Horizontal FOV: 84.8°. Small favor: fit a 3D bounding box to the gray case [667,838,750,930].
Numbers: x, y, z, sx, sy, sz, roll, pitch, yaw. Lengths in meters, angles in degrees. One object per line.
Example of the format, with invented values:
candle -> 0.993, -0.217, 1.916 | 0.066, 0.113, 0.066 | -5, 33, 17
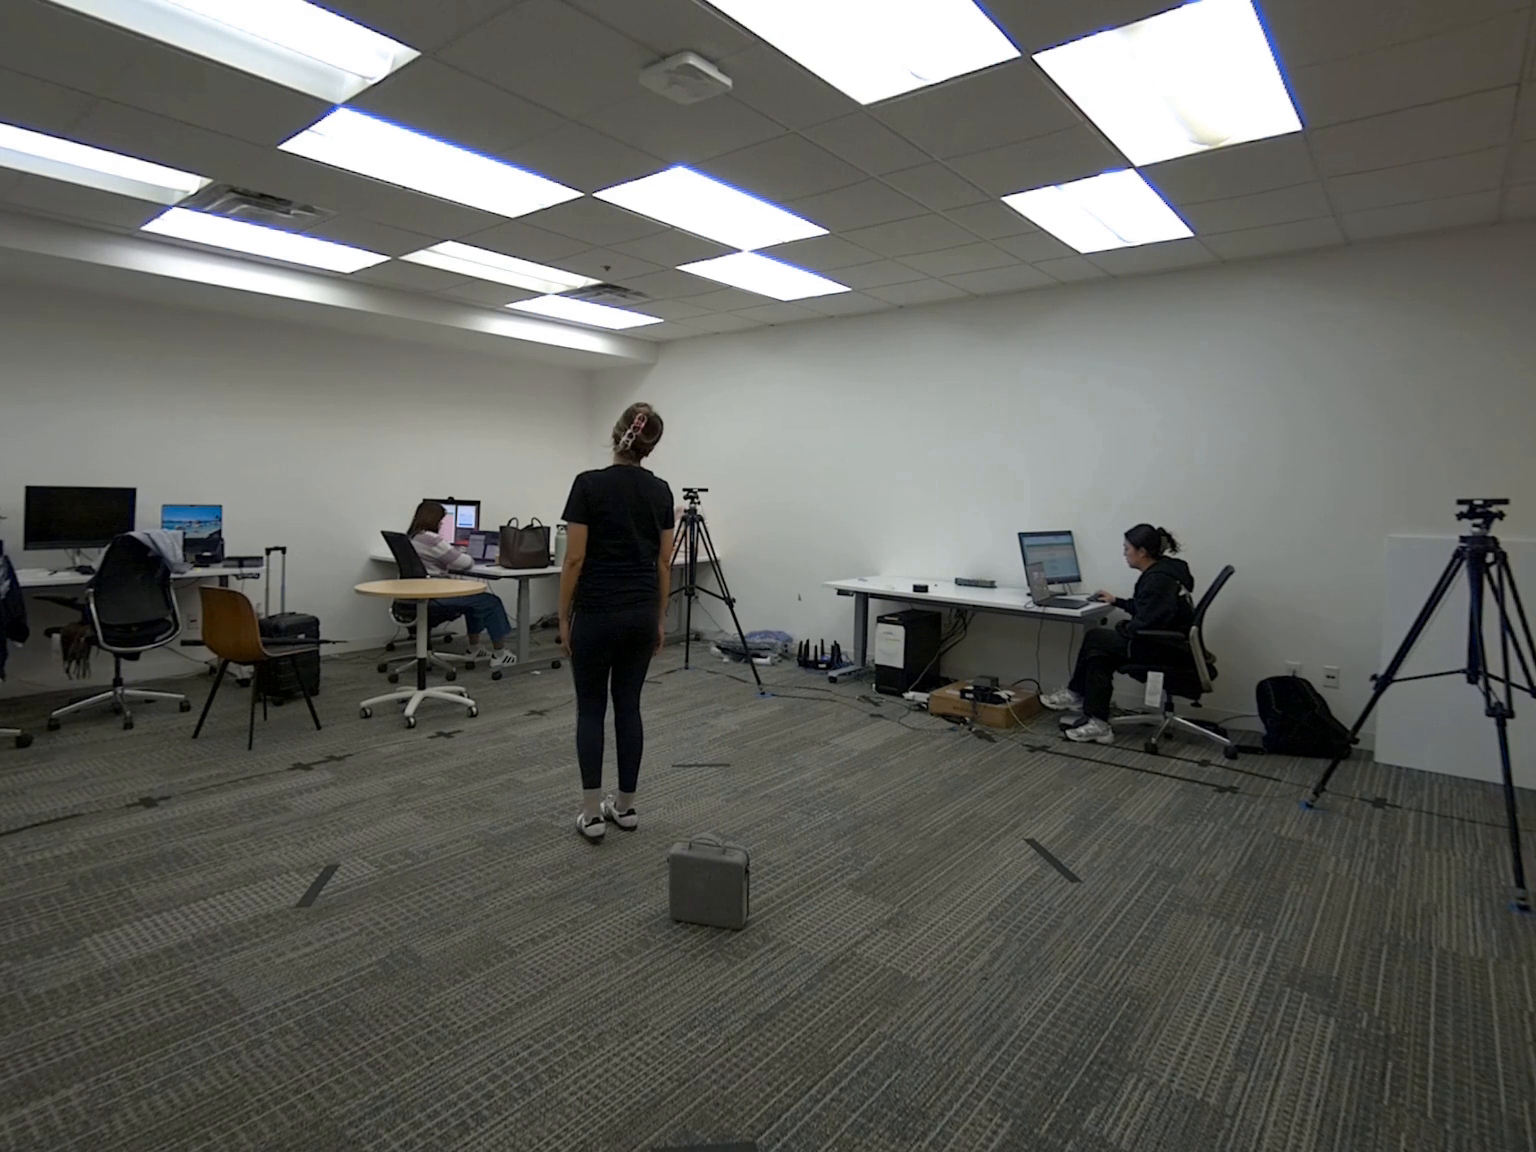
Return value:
gray case -> -0.194, 0.973, 2.719 | 0.261, 0.258, 0.104 | 1, 10, 14
